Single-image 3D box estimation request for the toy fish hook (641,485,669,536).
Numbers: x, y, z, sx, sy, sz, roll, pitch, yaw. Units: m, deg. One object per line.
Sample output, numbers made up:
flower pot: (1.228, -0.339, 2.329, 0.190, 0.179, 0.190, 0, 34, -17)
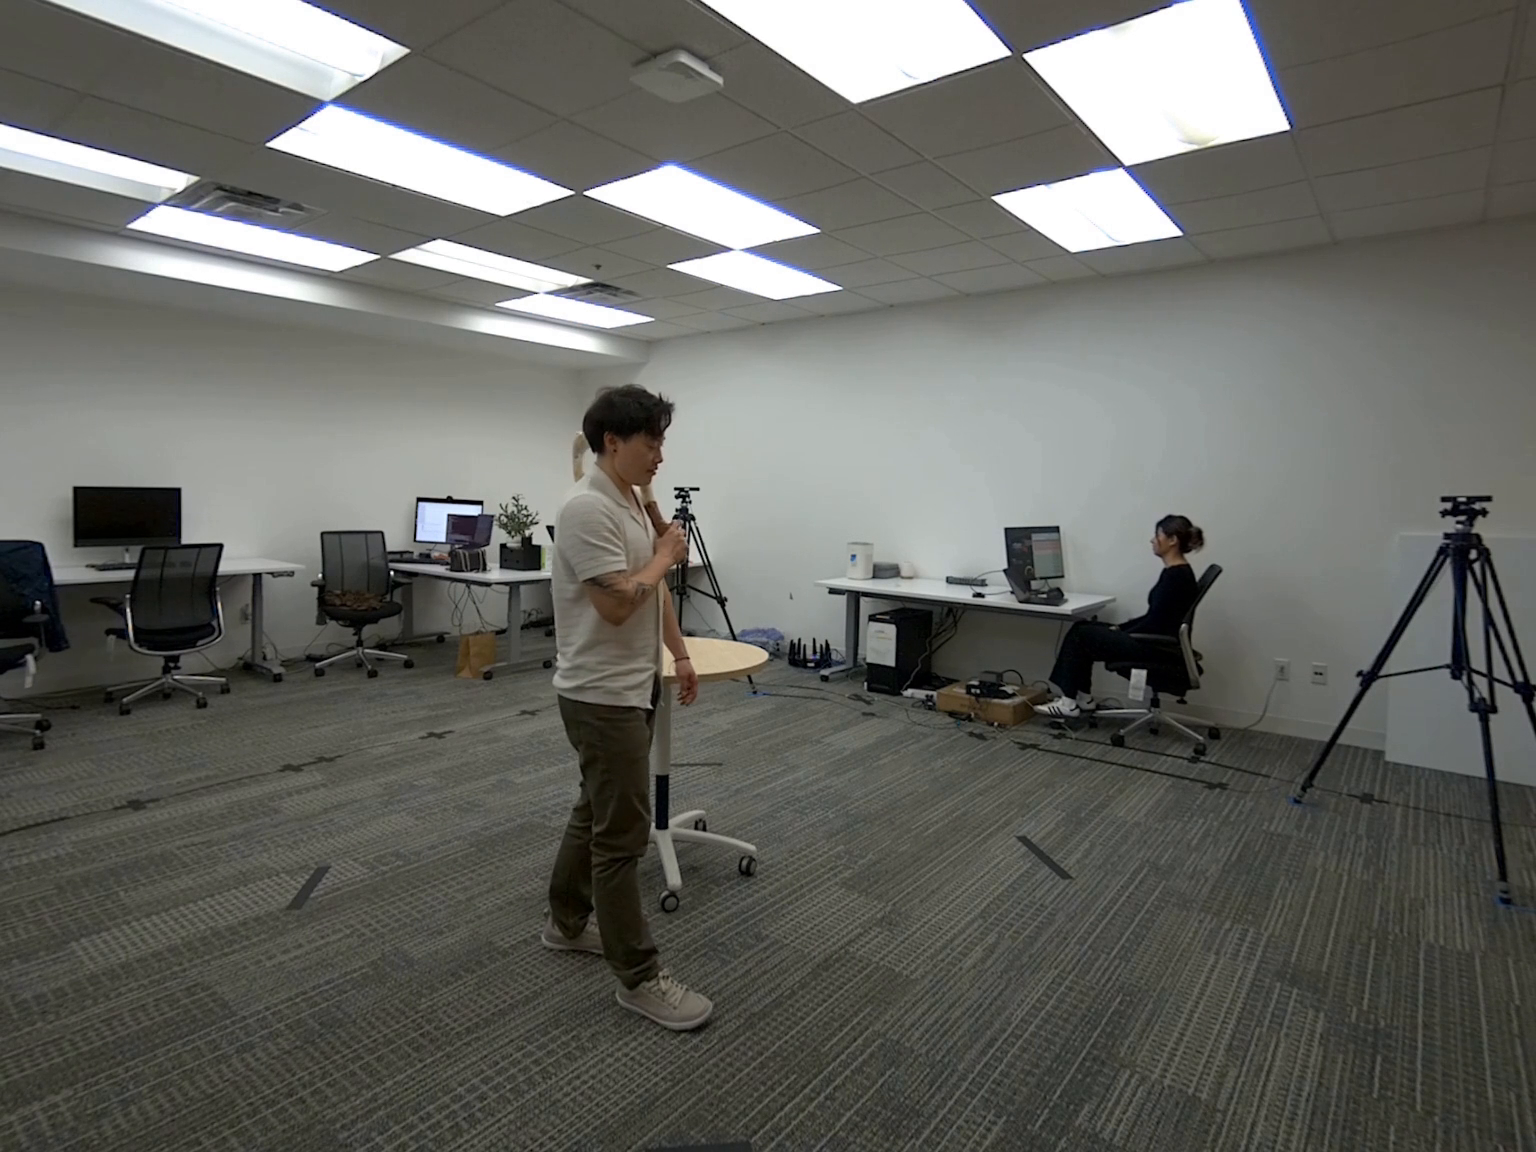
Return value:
toy fish hook: (-0.412, -0.231, 2.455, 0.225, 0.516, 0.047, -31, -13, 6)
